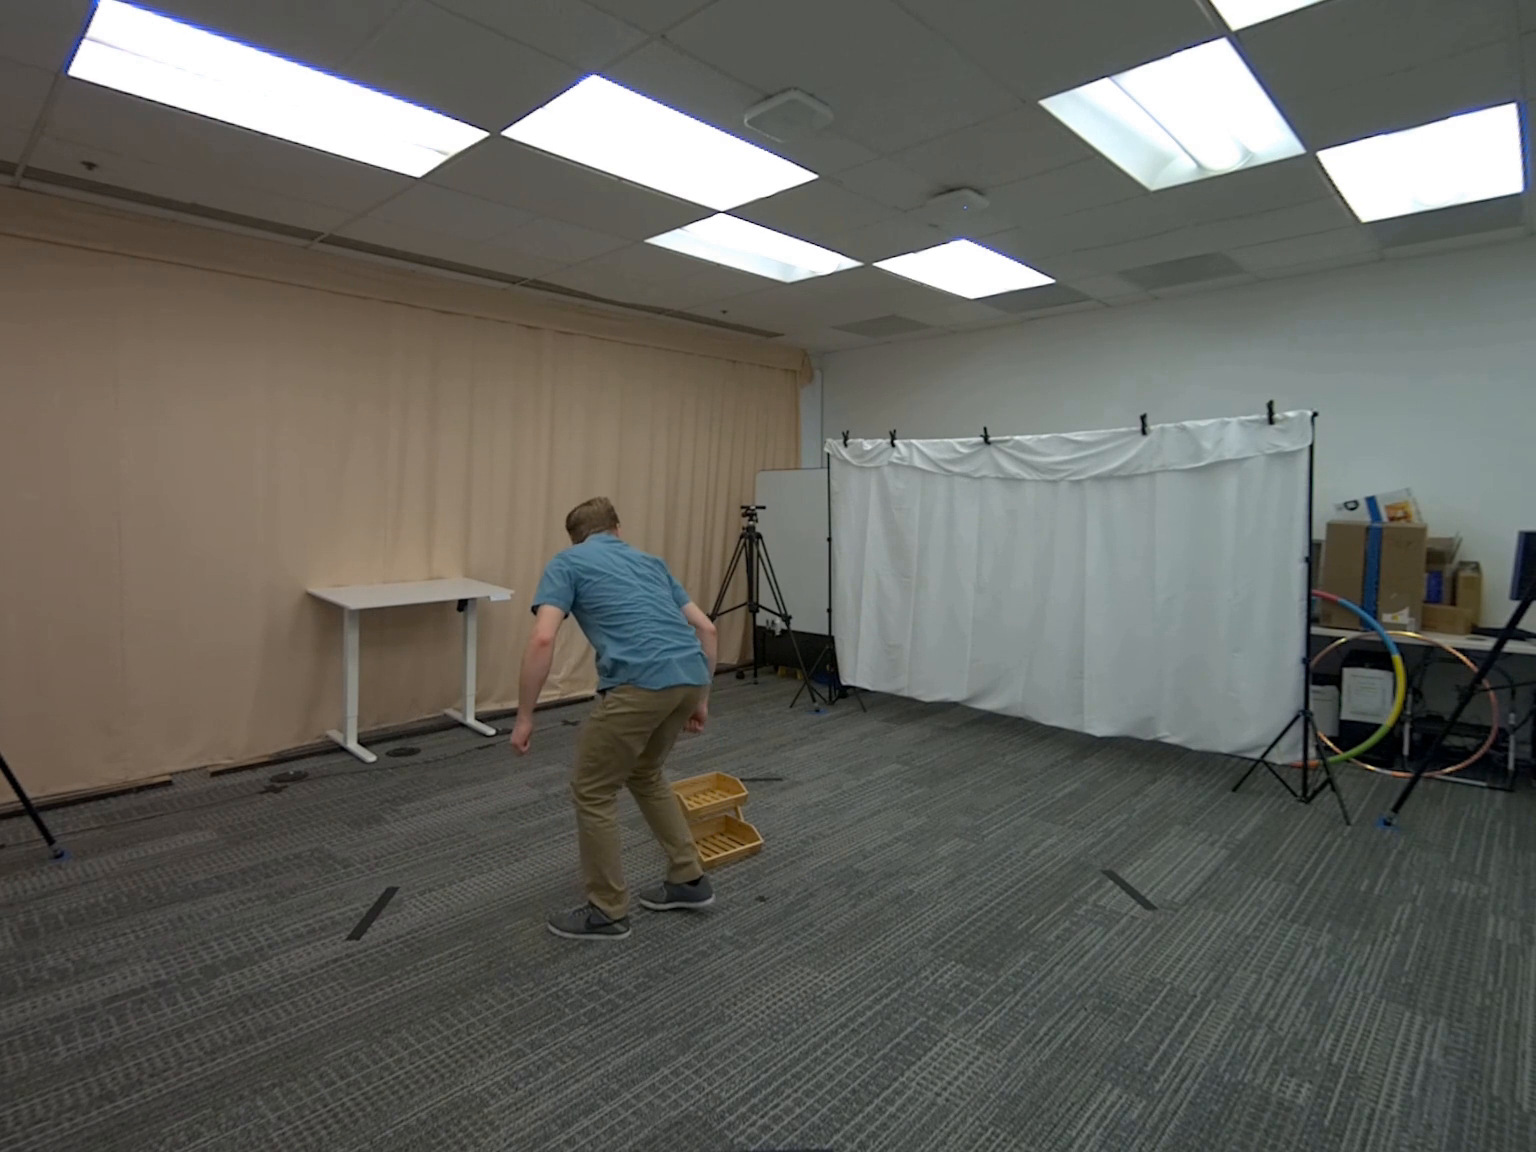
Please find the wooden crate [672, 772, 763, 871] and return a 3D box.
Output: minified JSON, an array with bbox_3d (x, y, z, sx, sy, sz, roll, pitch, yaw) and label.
[{"bbox_3d":[-0.229,0.978,3.393,0.315,0.273,0.312,-4,5,-39],"label":"wooden crate"}]
